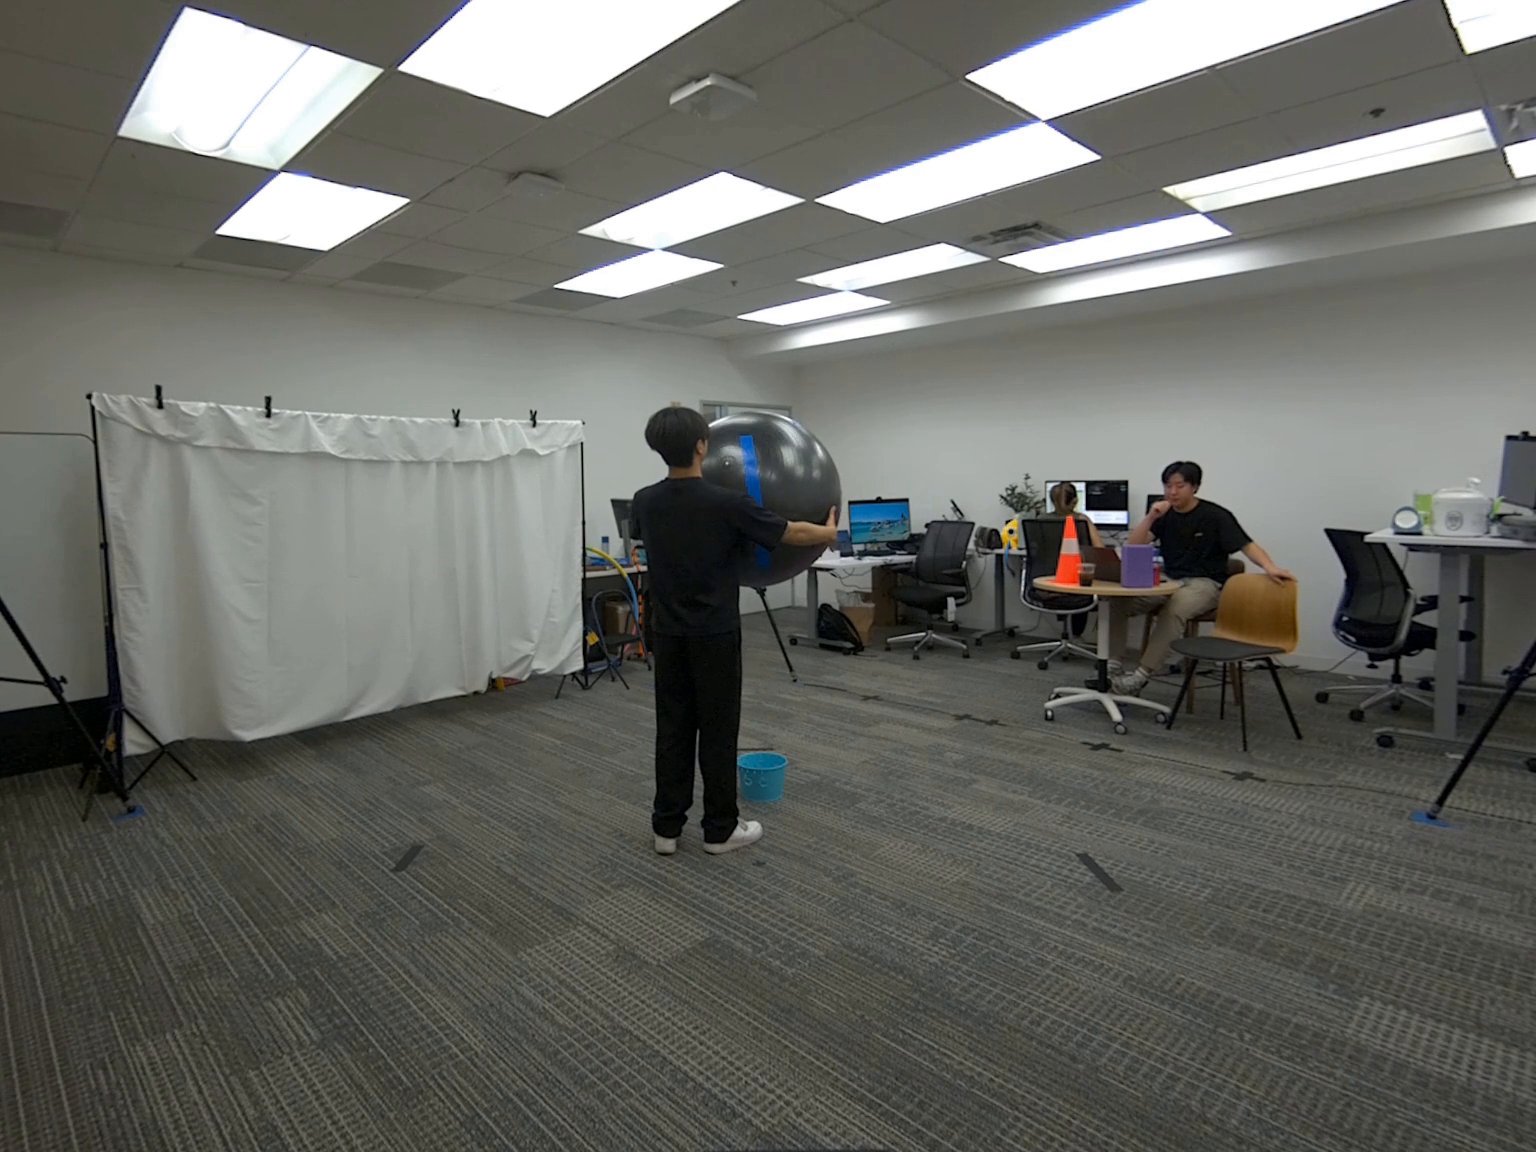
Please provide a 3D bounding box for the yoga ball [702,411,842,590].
[{"bbox_3d":[-0.063,-0.326,3.703,0.757,0.755,0.762,-1,5,-2],"label":"yoga ball"}]
